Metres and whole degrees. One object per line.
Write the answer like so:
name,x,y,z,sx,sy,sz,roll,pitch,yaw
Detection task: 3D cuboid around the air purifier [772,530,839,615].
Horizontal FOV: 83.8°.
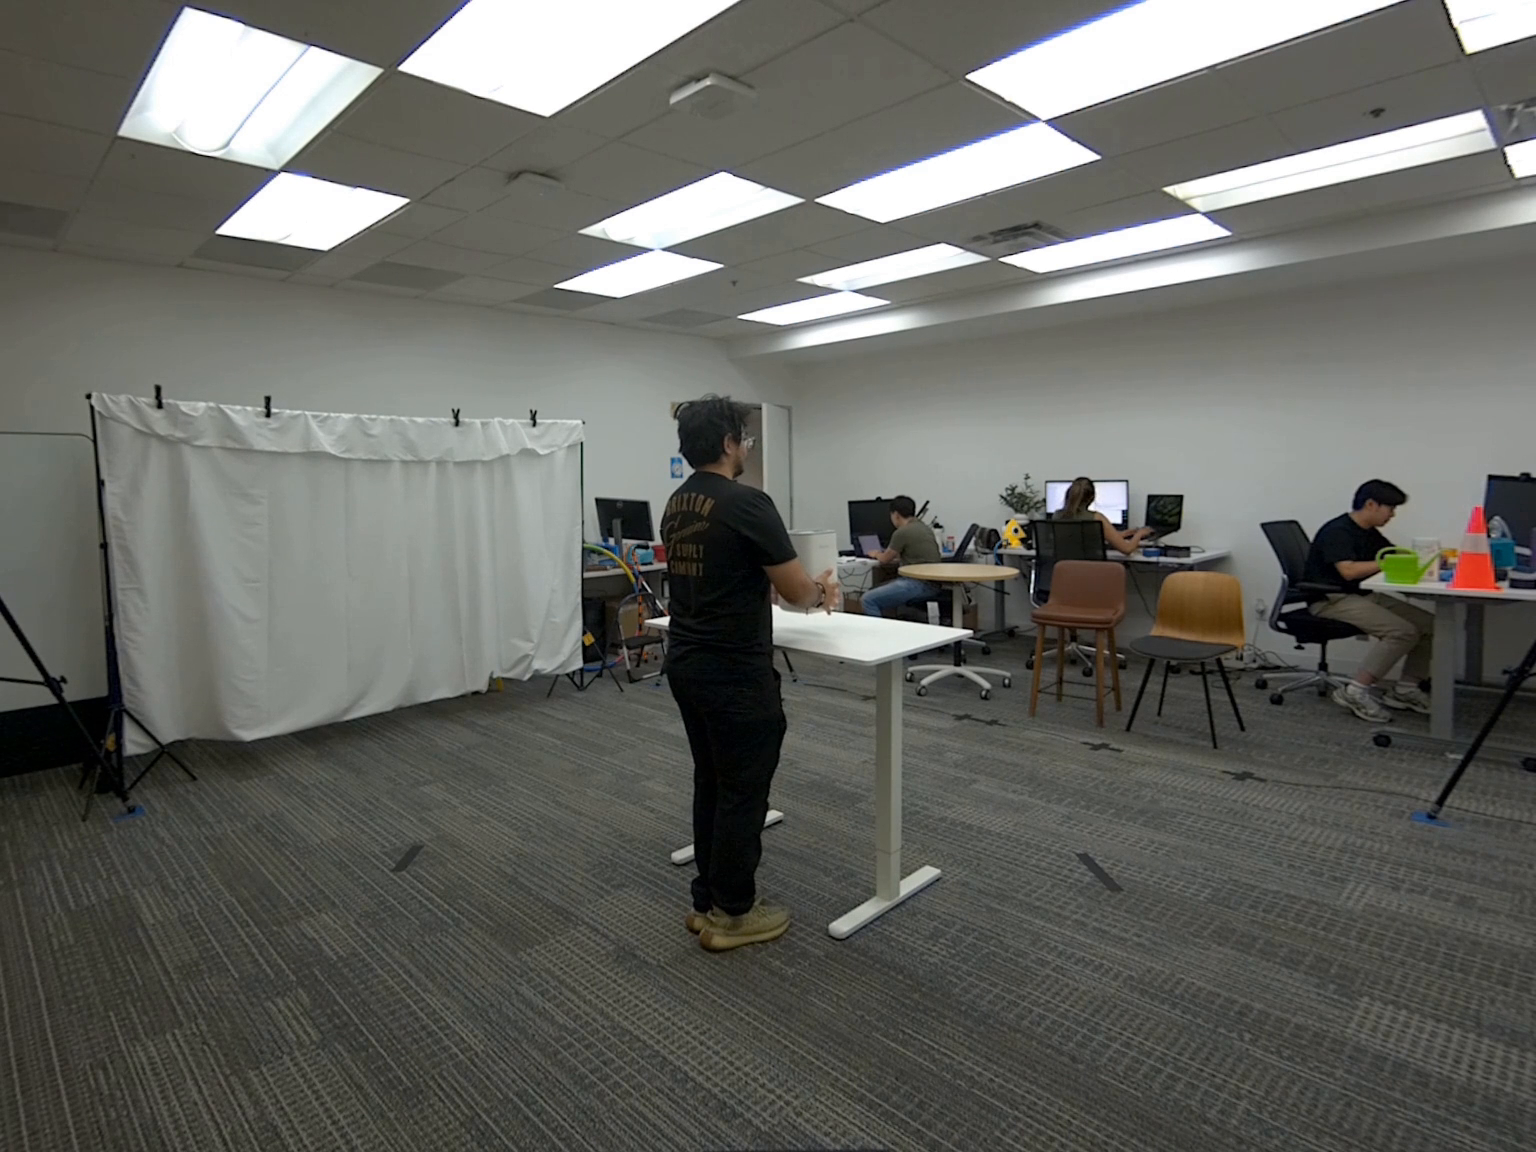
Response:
air purifier,0.133,-0.015,2.844,0.167,0.264,0.177,-7,8,-44
